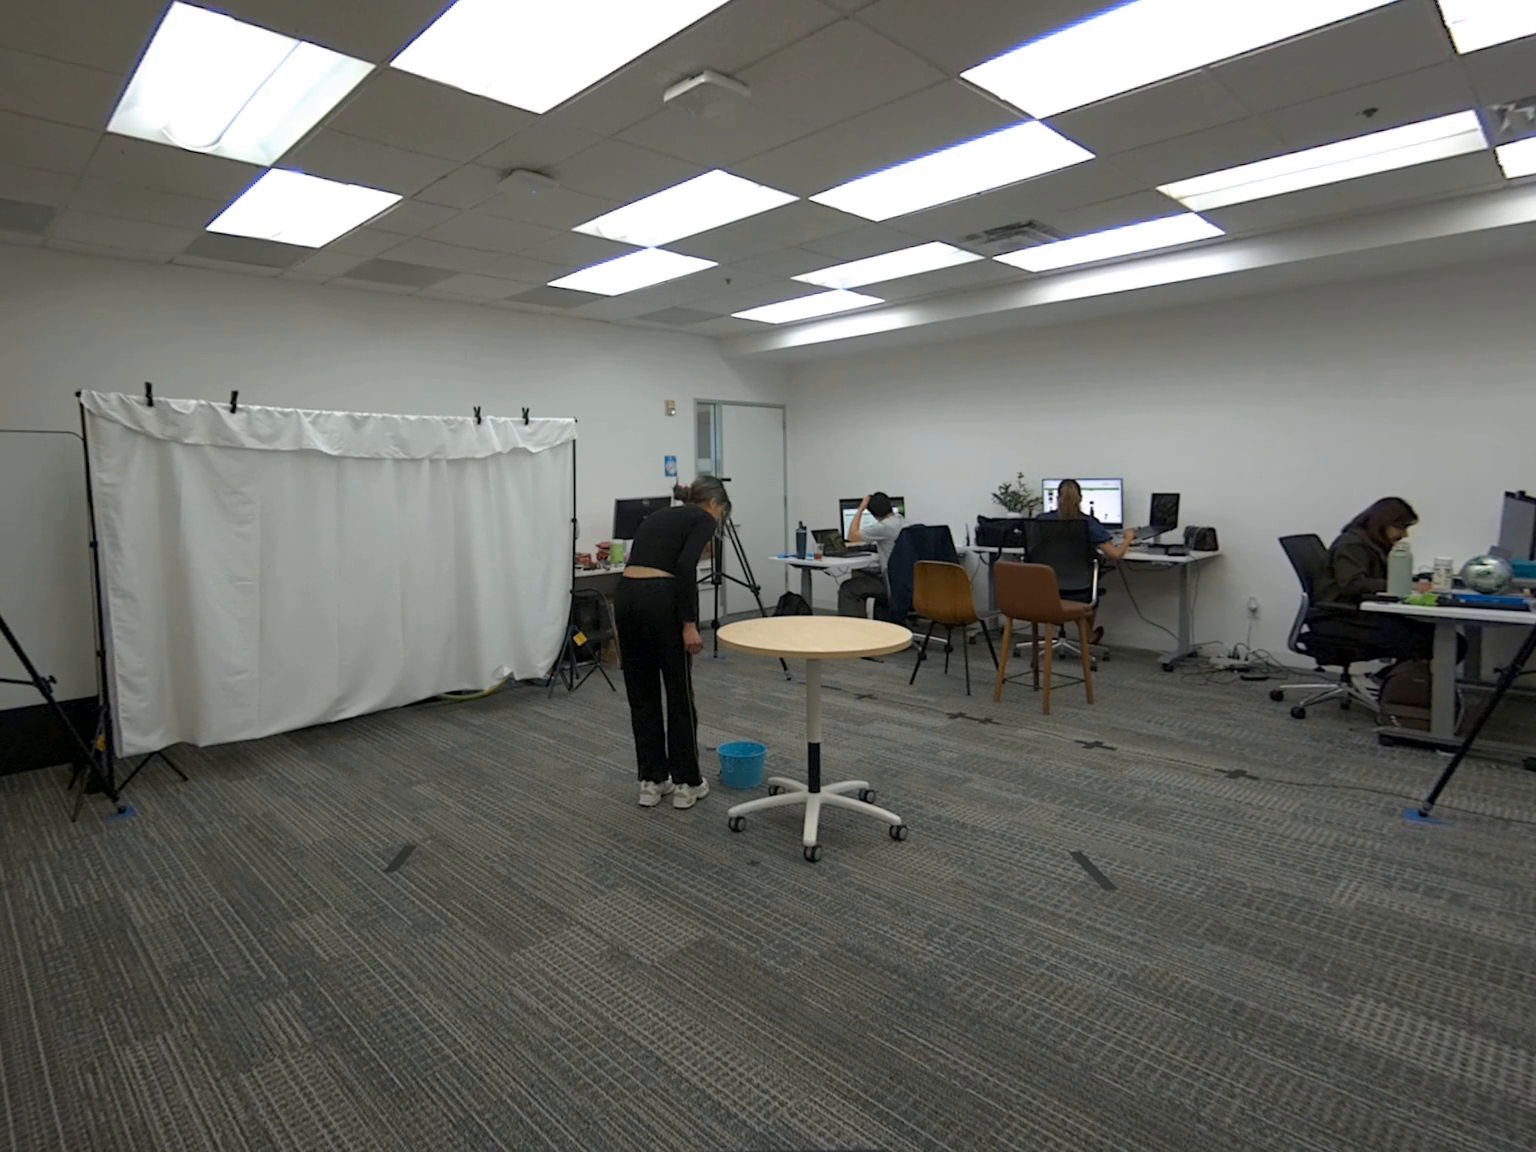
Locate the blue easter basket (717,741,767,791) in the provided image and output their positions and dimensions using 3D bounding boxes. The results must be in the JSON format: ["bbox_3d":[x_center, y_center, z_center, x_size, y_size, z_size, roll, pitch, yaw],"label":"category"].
[{"bbox_3d":[-0.120,0.871,3.952,0.243,0.155,0.245,-1,5,-2],"label":"blue easter basket"}]
